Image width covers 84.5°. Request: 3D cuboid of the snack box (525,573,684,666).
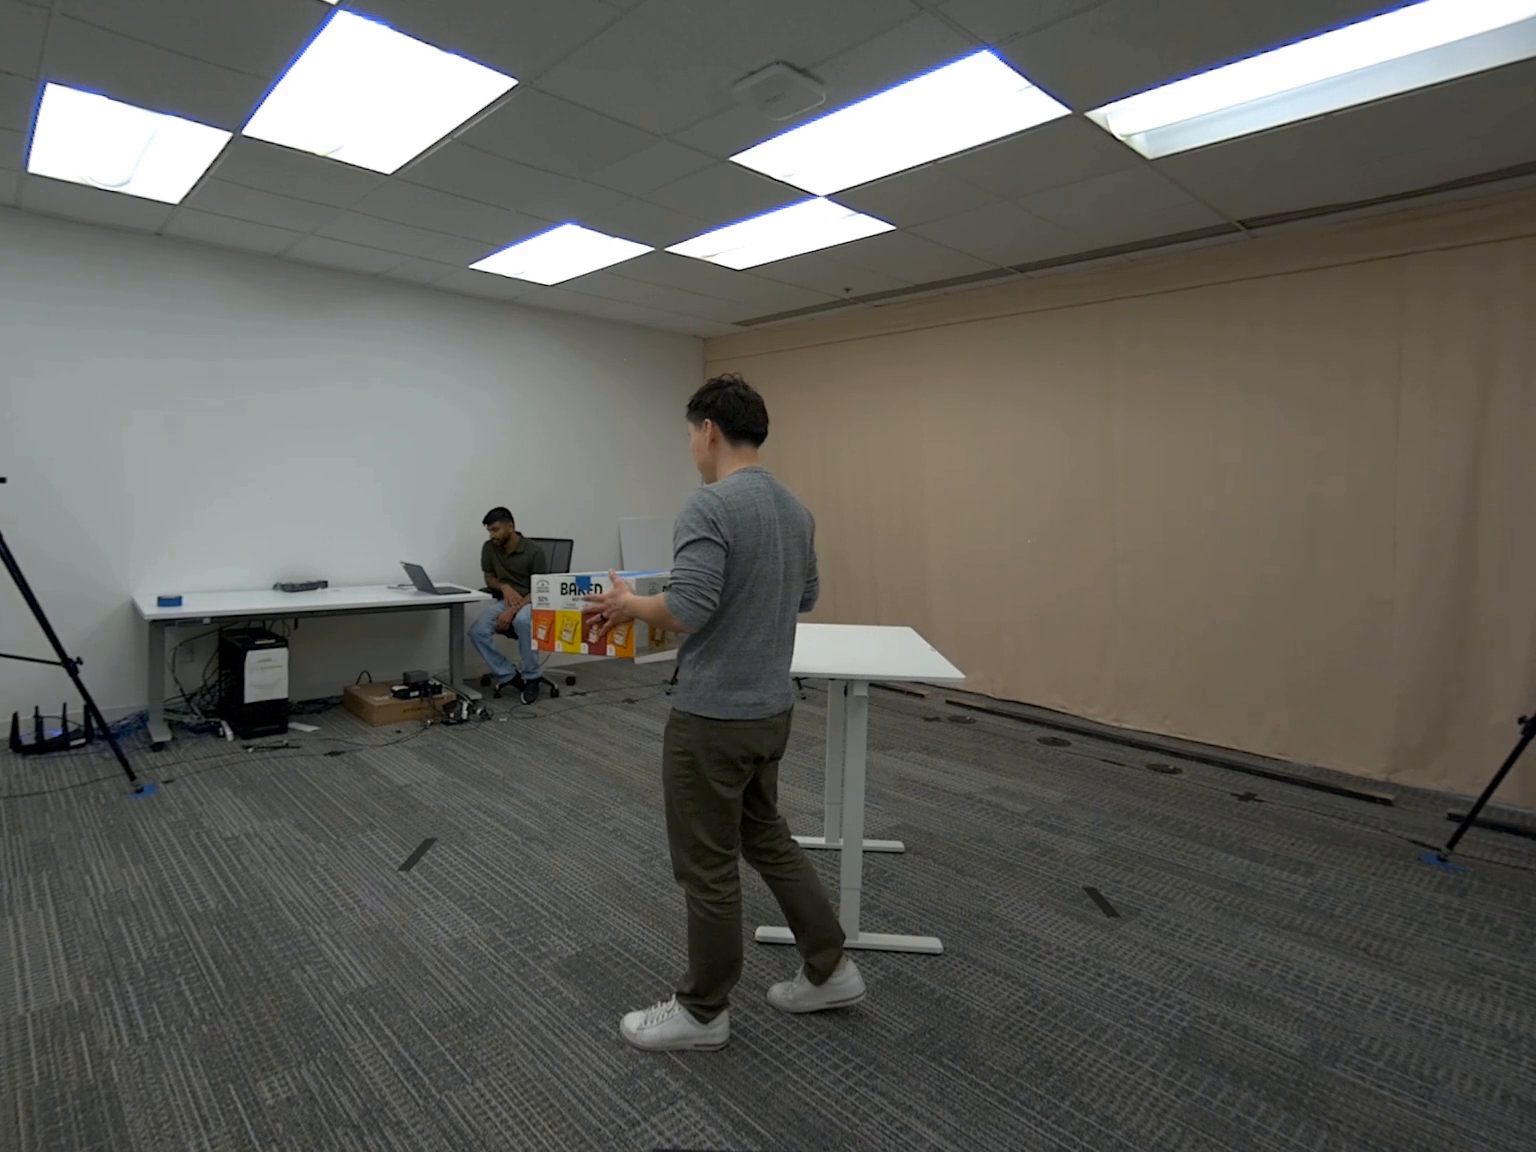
[{"bbox_3d":[-0.402,0.105,2.341,0.347,0.205,0.397,1,2,27],"label":"snack box"}]
